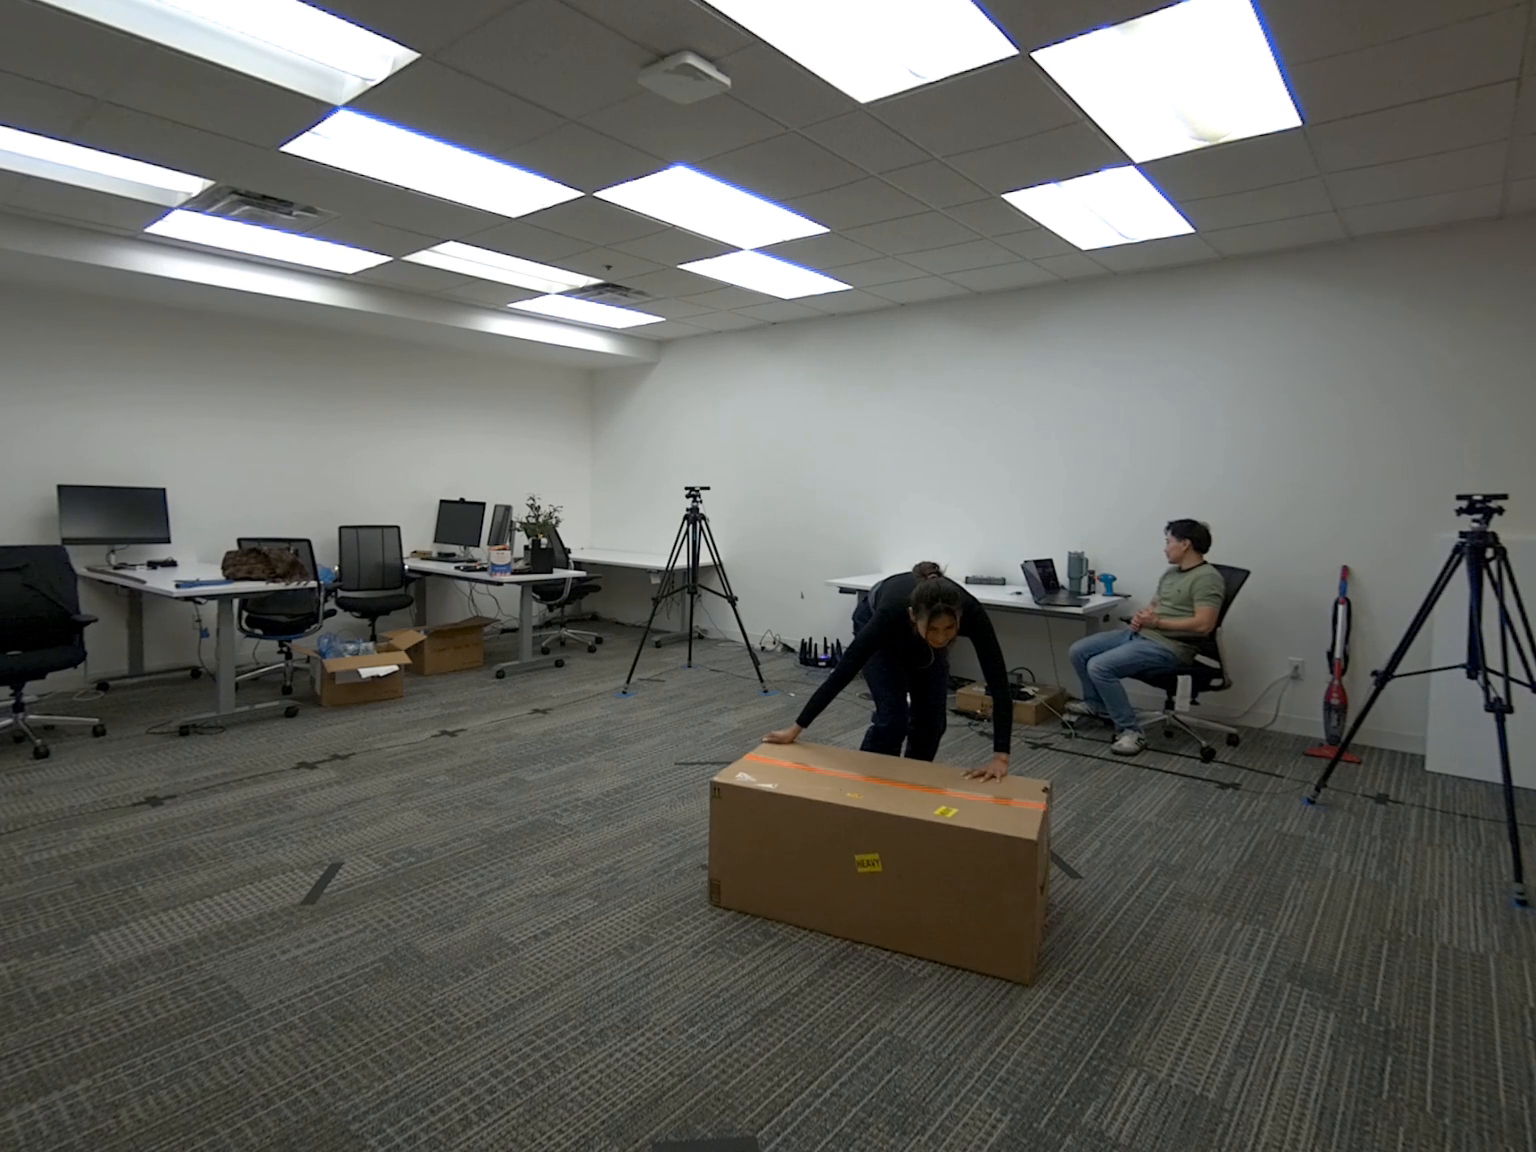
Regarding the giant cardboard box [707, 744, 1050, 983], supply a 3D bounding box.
[{"bbox_3d":[0.372,0.886,2.856,1.052,0.425,0.564,3,4,25],"label":"giant cardboard box"}]
